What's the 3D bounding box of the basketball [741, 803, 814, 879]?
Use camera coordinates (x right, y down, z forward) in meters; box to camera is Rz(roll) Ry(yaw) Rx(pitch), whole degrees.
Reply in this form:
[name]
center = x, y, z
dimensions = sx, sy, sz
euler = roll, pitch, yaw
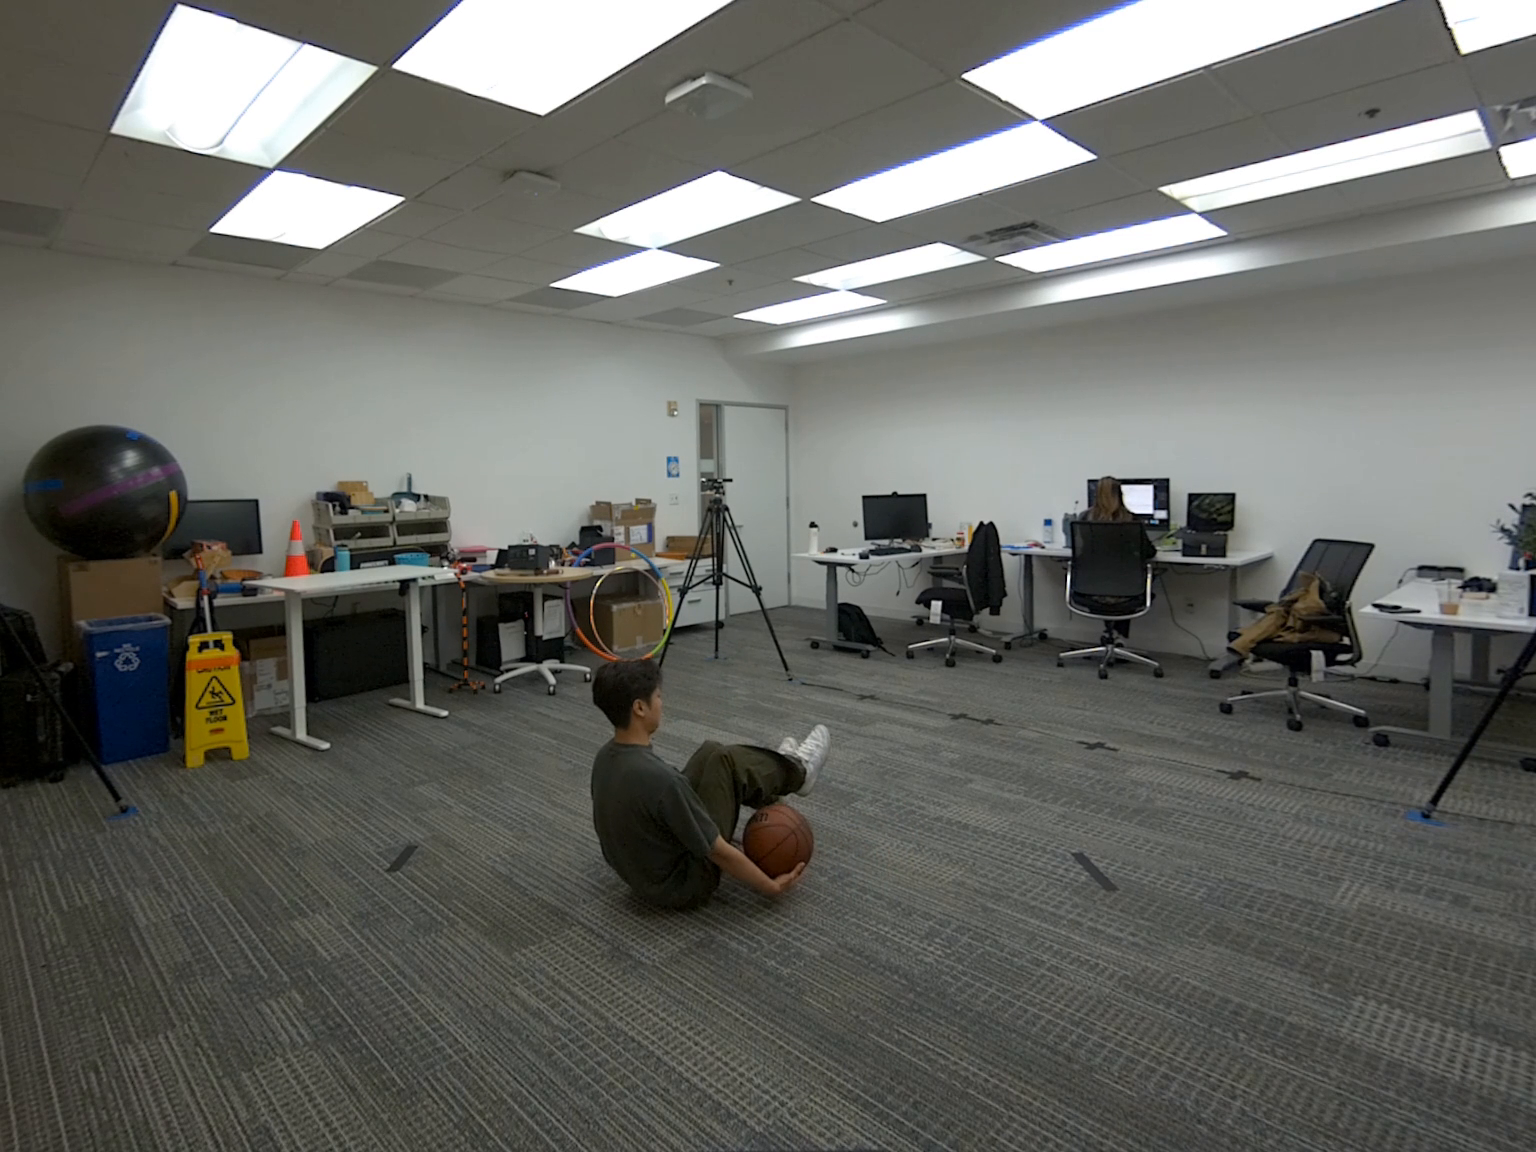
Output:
[basketball]
center = 0.032, 0.887, 2.865
dimensions = 0.236, 0.235, 0.237
euler = -1, 5, -2
